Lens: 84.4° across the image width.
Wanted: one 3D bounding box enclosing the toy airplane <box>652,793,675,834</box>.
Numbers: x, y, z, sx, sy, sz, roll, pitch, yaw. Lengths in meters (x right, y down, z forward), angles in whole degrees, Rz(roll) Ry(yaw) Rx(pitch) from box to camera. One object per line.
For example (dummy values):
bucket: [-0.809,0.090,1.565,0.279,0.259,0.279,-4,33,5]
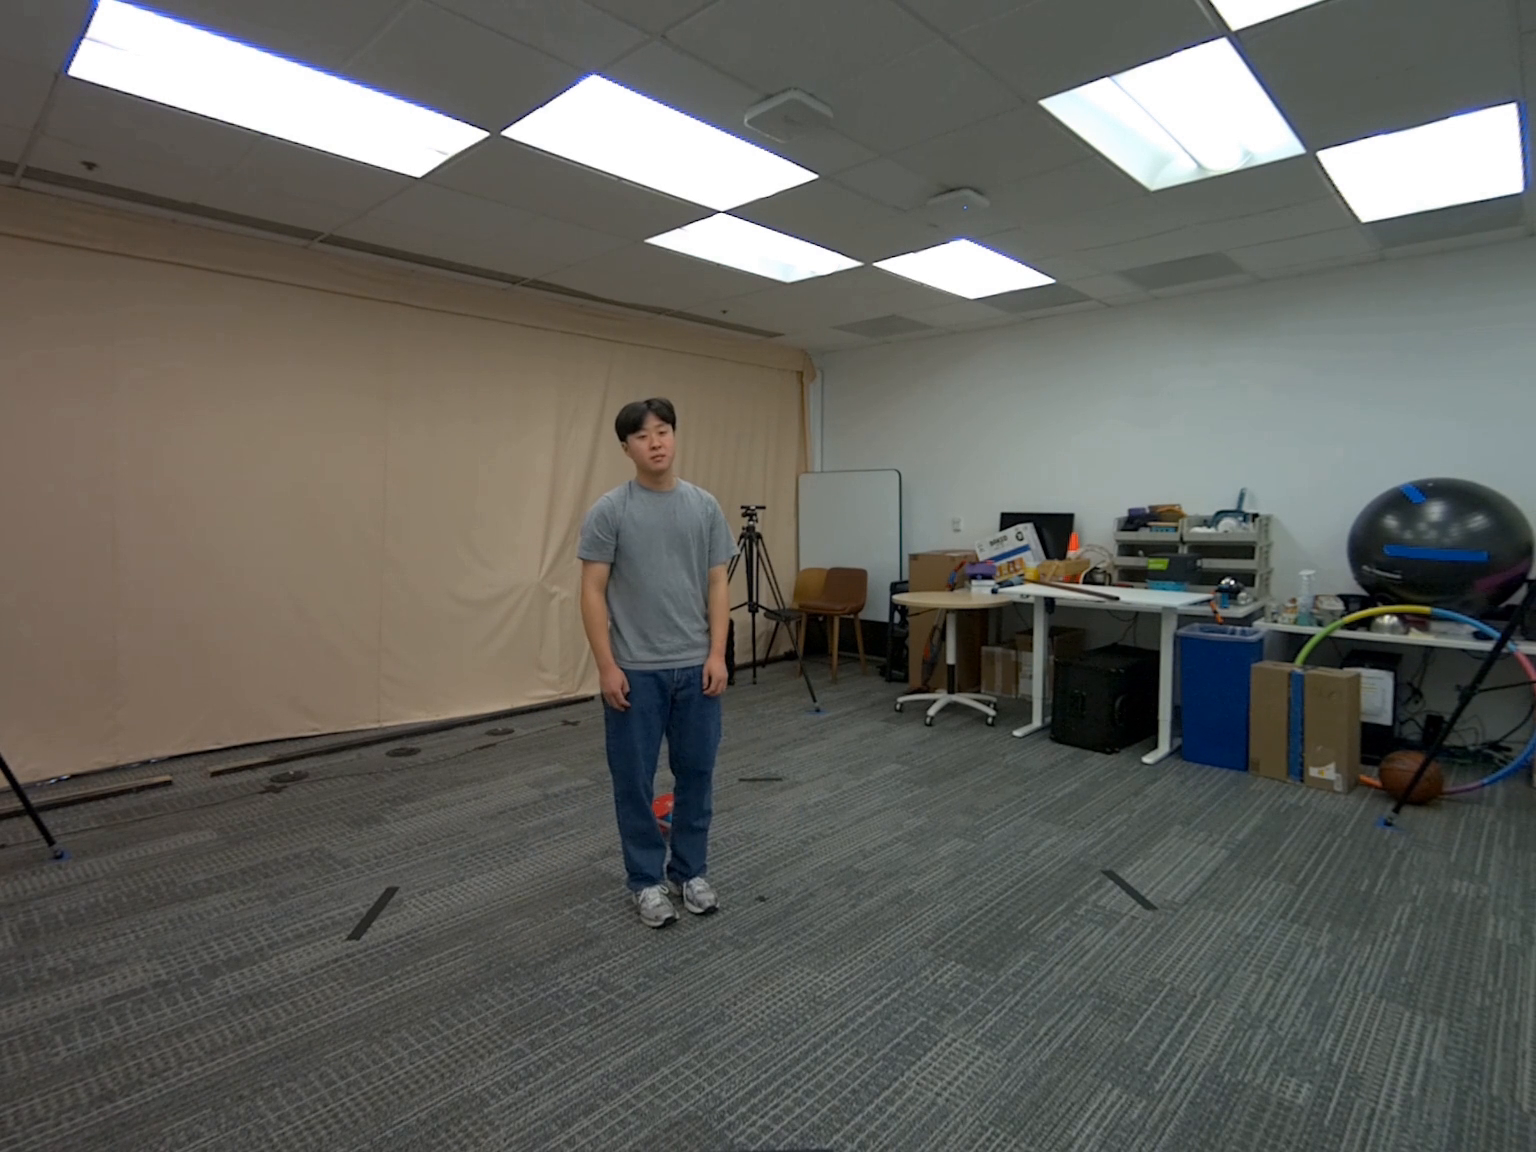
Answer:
toy airplane: [-0.412,1.025,3.541,0.258,0.156,0.253,-3,4,-5]
